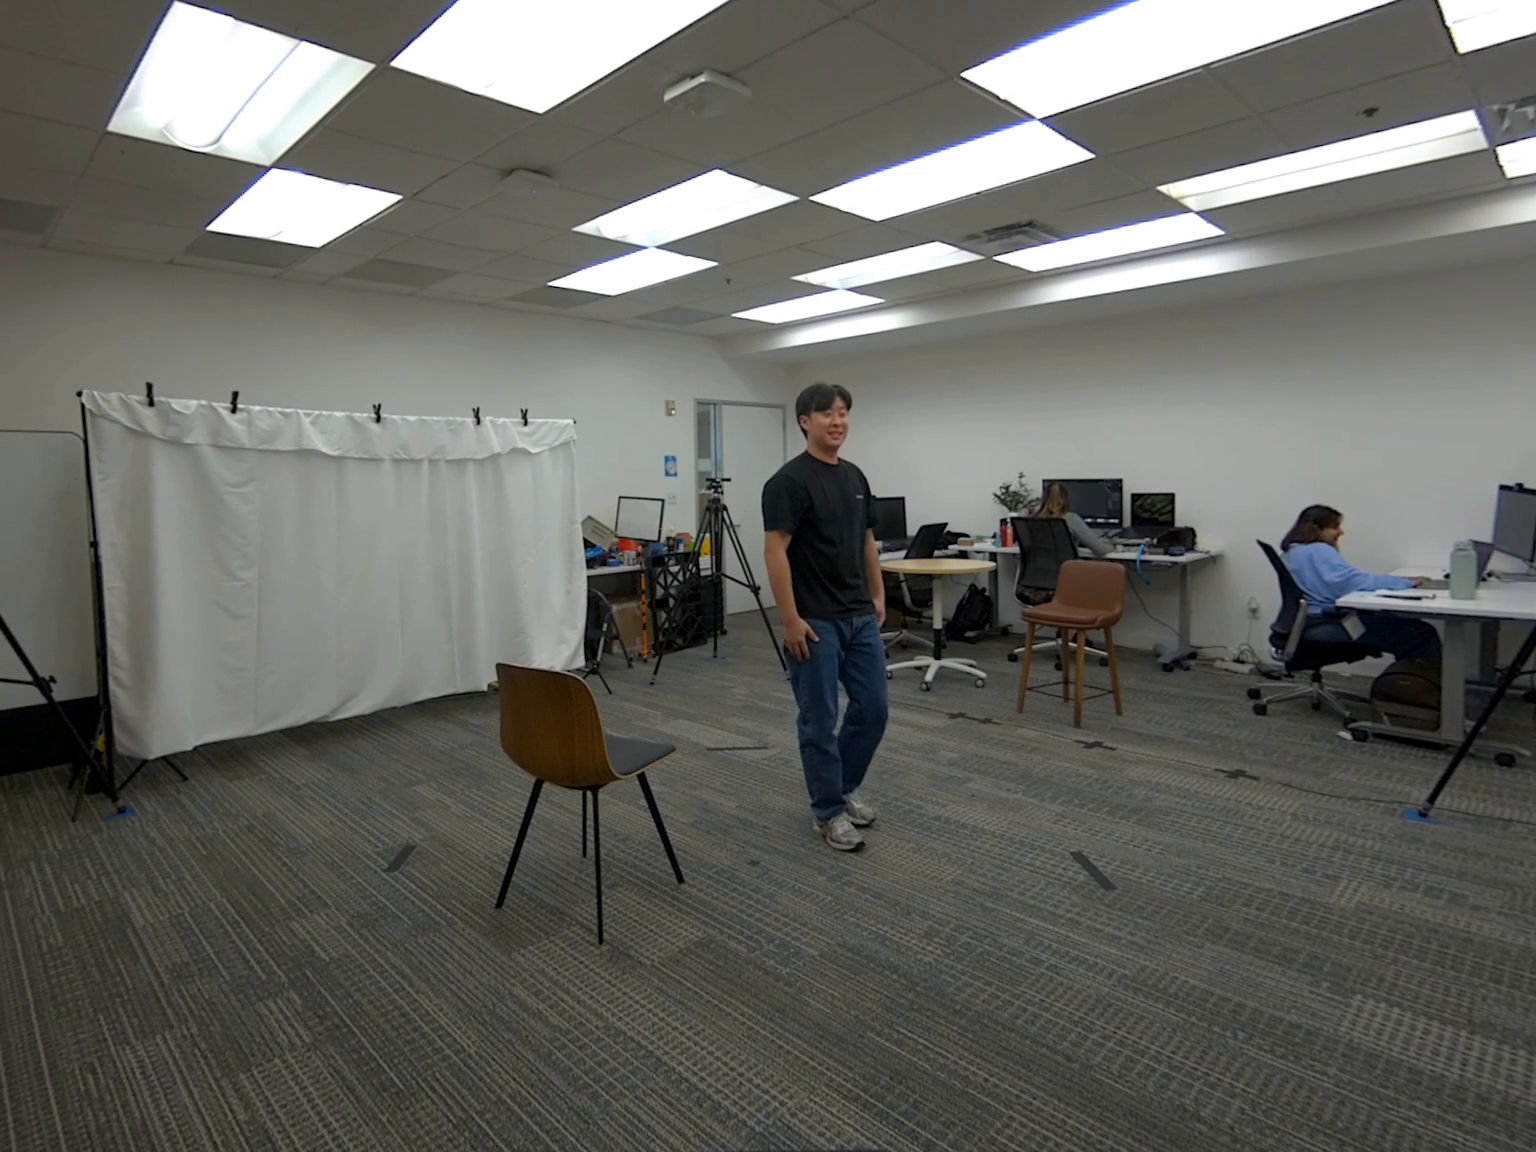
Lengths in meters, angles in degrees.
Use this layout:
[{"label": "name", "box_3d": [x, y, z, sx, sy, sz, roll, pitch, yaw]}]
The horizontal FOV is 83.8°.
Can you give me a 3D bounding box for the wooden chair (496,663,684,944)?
[{"label": "wooden chair", "box_3d": [-0.592, 0.653, 2.858, 0.491, 0.871, 0.513, 1, 9, 30]}]
